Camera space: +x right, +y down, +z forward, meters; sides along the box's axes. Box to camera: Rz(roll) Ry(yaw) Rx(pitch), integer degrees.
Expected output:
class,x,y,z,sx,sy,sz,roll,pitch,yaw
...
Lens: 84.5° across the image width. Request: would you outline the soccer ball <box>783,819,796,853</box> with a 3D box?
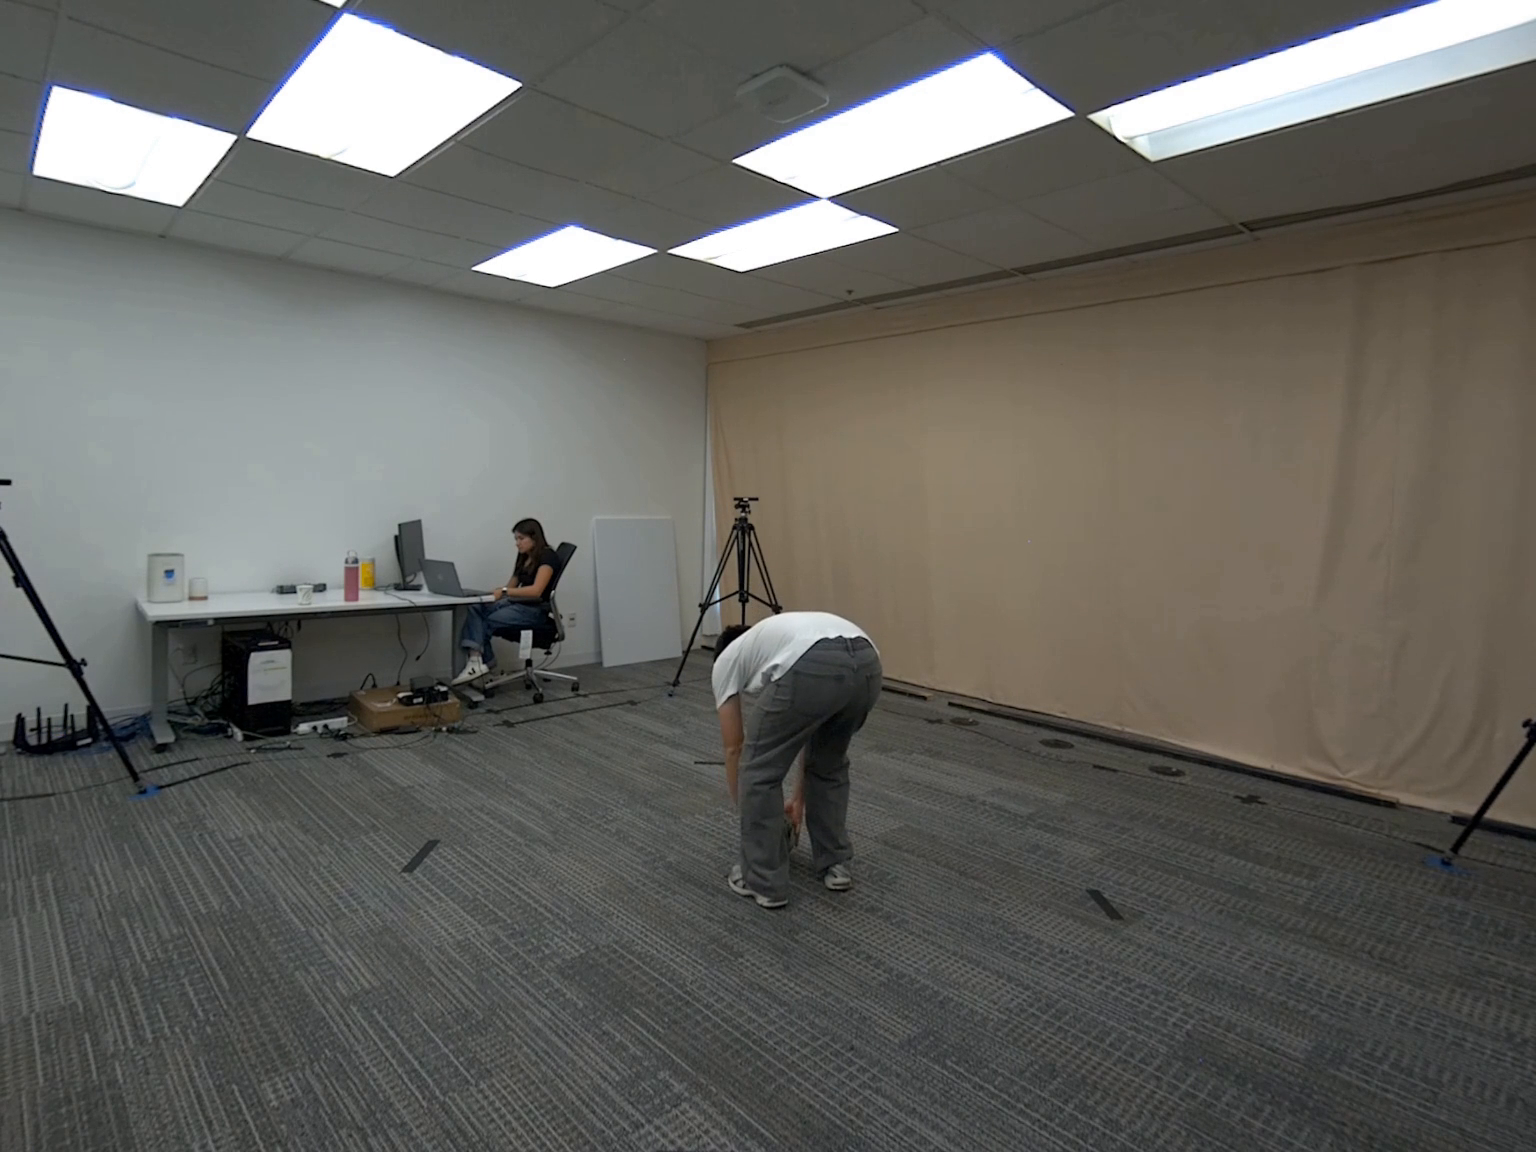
class,x,y,z,sx,sy,sz,roll,pitch,yaw
soccer ball,0.016,0.996,3.259,0.187,0.187,0.188,1,4,-1
